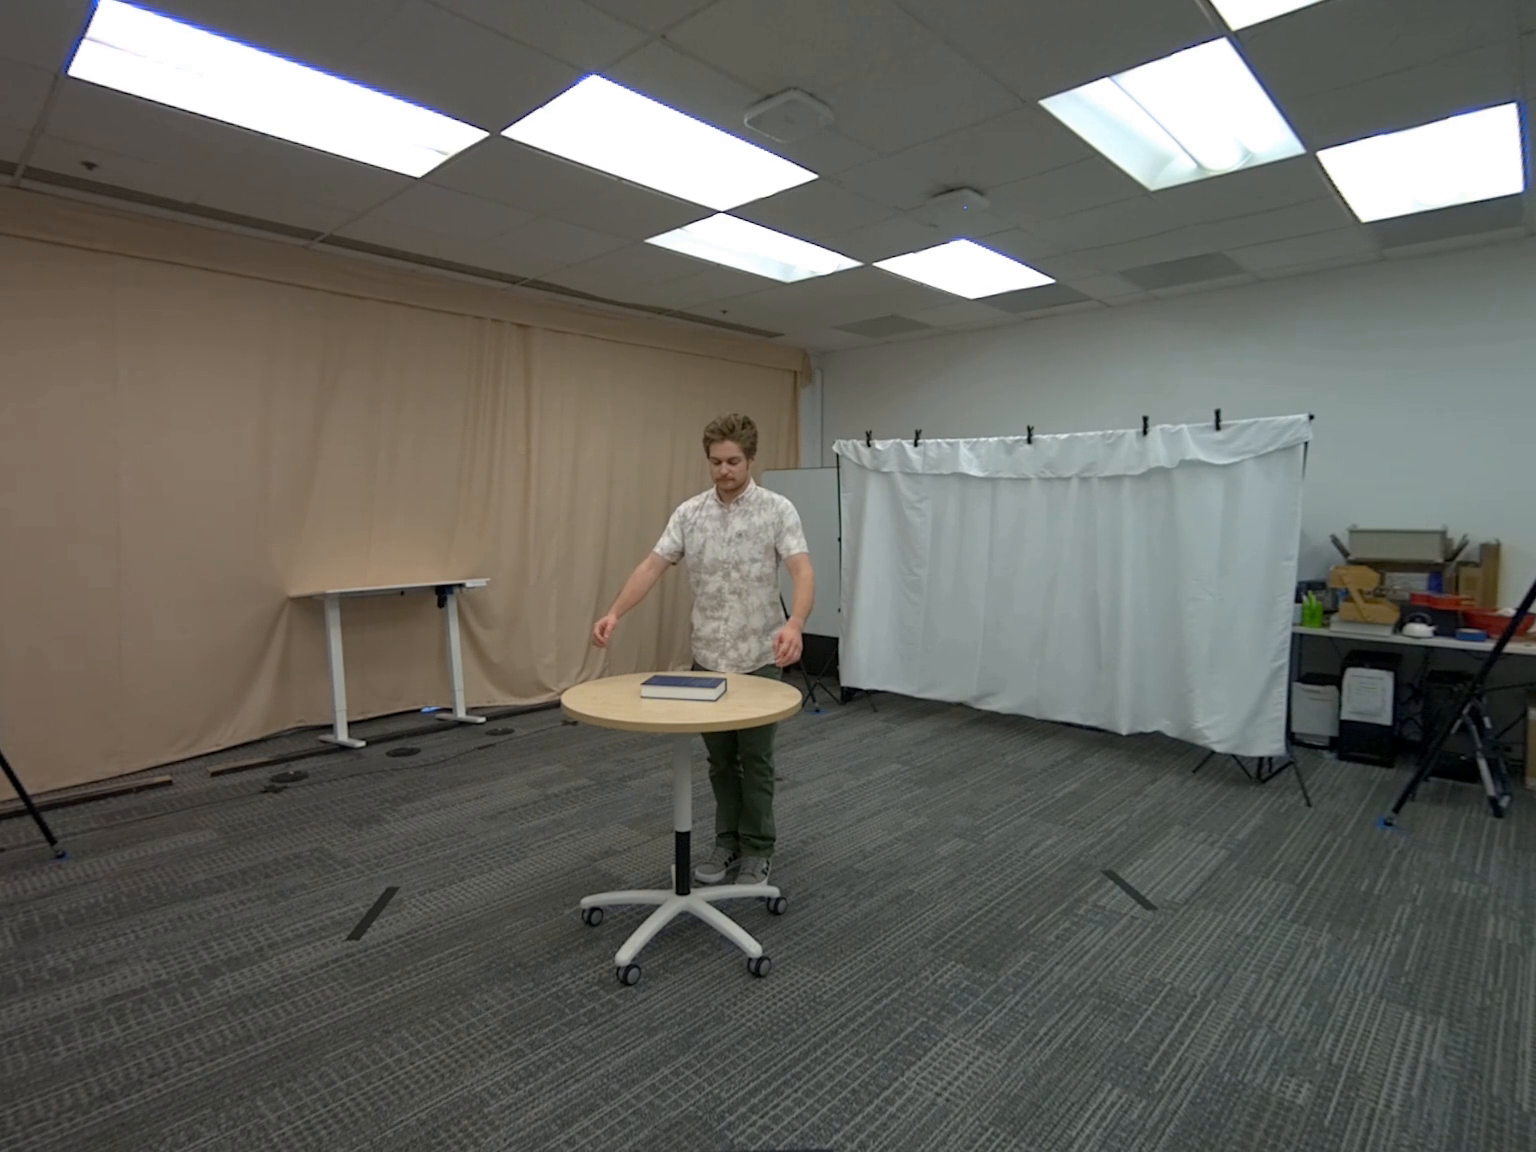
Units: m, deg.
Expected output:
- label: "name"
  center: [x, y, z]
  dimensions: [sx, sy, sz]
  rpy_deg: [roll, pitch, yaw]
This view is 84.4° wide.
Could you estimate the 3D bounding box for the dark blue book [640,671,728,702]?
- label: "dark blue book"
  center: [-0.268, 0.355, 2.687]
  dimensions: [0.248, 0.045, 0.162]
  rpy_deg: [1, 5, 11]
